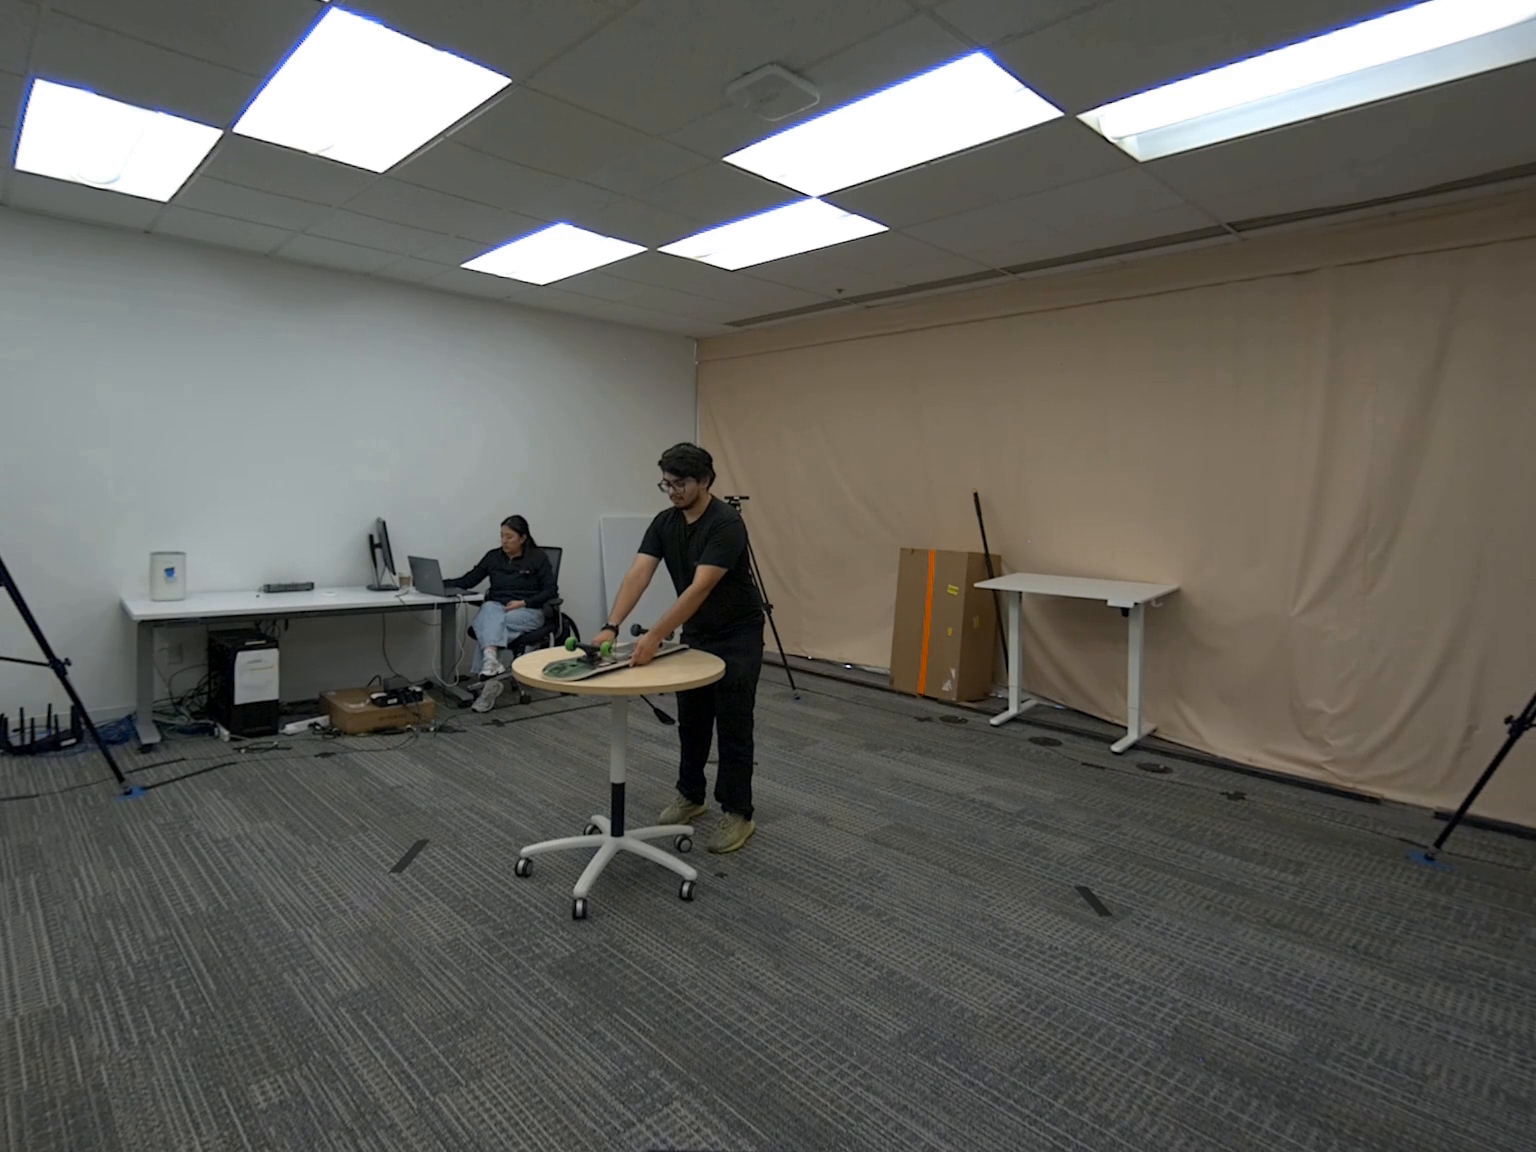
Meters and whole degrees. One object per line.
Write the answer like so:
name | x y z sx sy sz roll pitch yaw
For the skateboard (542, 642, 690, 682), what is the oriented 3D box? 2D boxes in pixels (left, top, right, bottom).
skateboard | -0.555 0.268 3.082 0.198 0.110 0.770 6 6 28
